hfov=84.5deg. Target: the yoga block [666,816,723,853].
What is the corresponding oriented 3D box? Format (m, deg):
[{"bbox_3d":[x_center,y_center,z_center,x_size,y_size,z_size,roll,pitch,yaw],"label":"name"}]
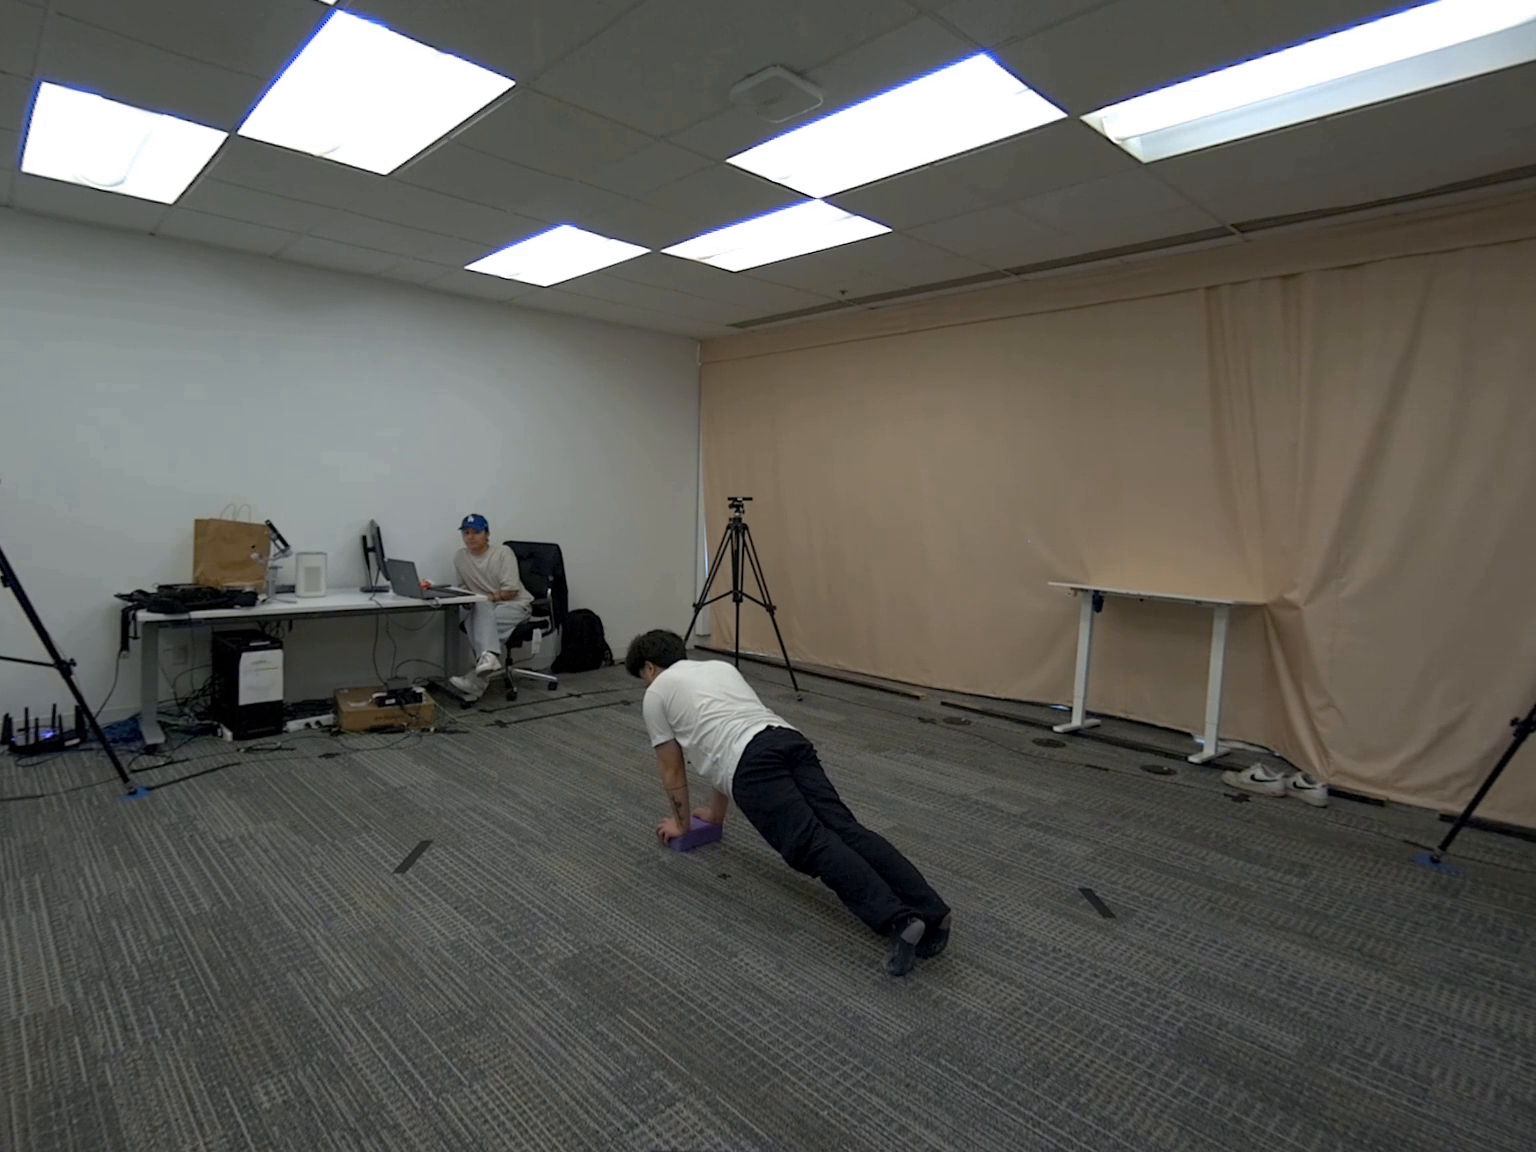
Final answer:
[{"bbox_3d":[-0.323,1.040,3.422,0.153,0.076,0.224,4,6,45],"label":"yoga block"}]
